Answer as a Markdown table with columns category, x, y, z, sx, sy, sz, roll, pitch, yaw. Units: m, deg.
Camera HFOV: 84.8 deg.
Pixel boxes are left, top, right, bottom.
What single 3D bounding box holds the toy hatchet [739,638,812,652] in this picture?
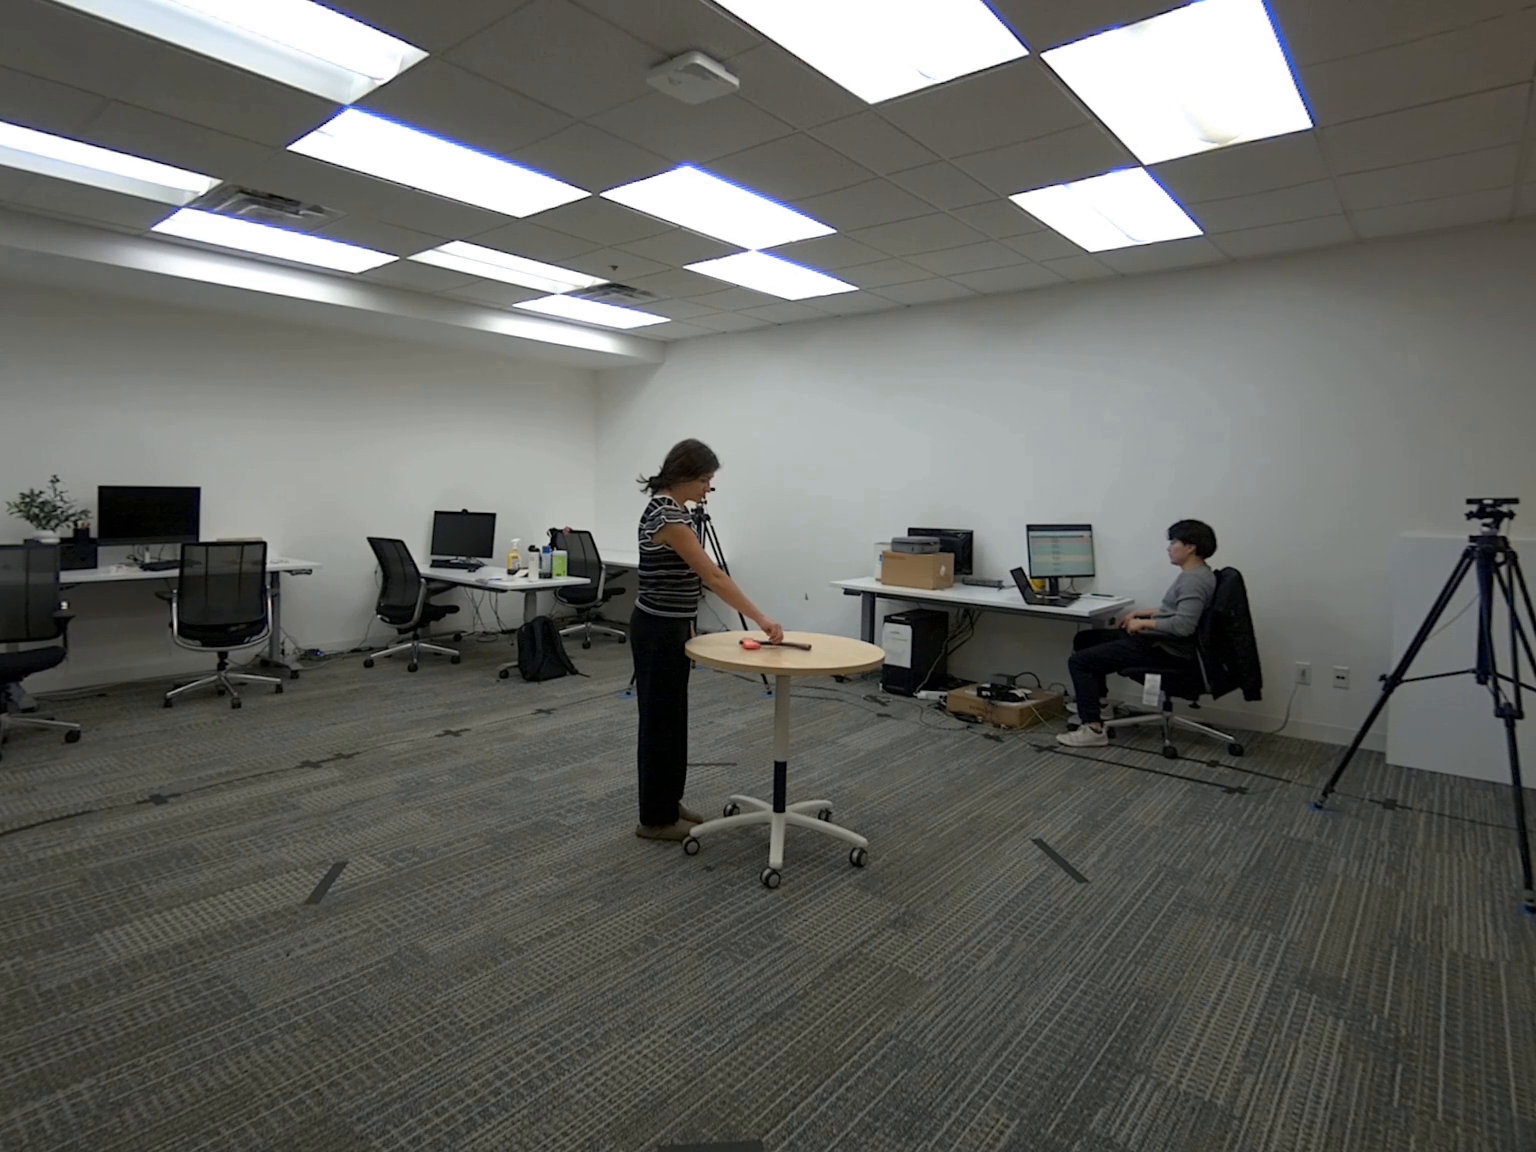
| category | x | y | z | sx | sy | sz | roll | pitch | yaw |
| --- | --- | --- | --- | --- | --- | --- | --- | --- | --- |
| toy hatchet | 0.021 | 0.263 | 3.239 | 0.275 | 0.029 | 0.129 | 4 | 8 | 17 |
